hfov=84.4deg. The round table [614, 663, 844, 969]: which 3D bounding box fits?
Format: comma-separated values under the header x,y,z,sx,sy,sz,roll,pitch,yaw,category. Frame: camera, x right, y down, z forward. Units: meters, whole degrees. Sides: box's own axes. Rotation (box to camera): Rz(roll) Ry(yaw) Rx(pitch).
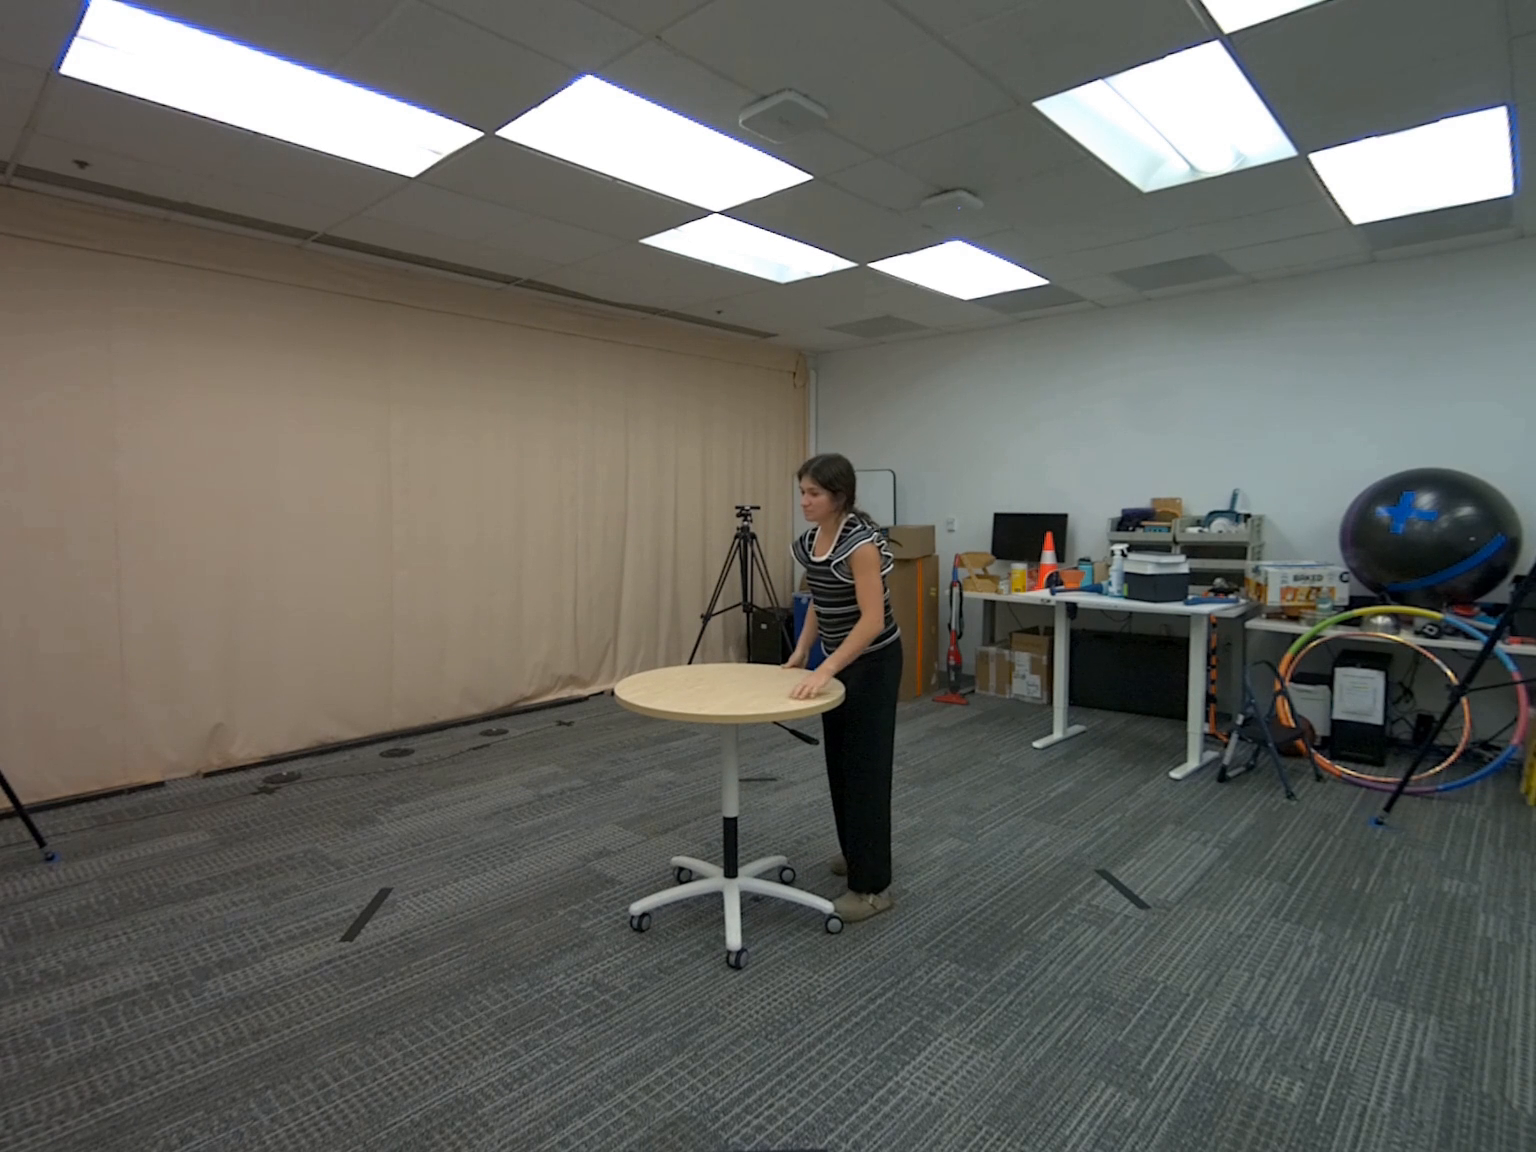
x,y,z,sx,sy,sz,roll,pitch,yaw,category
-0.126,0.766,2.840,0.763,0.792,0.767,0,4,-2,round table
